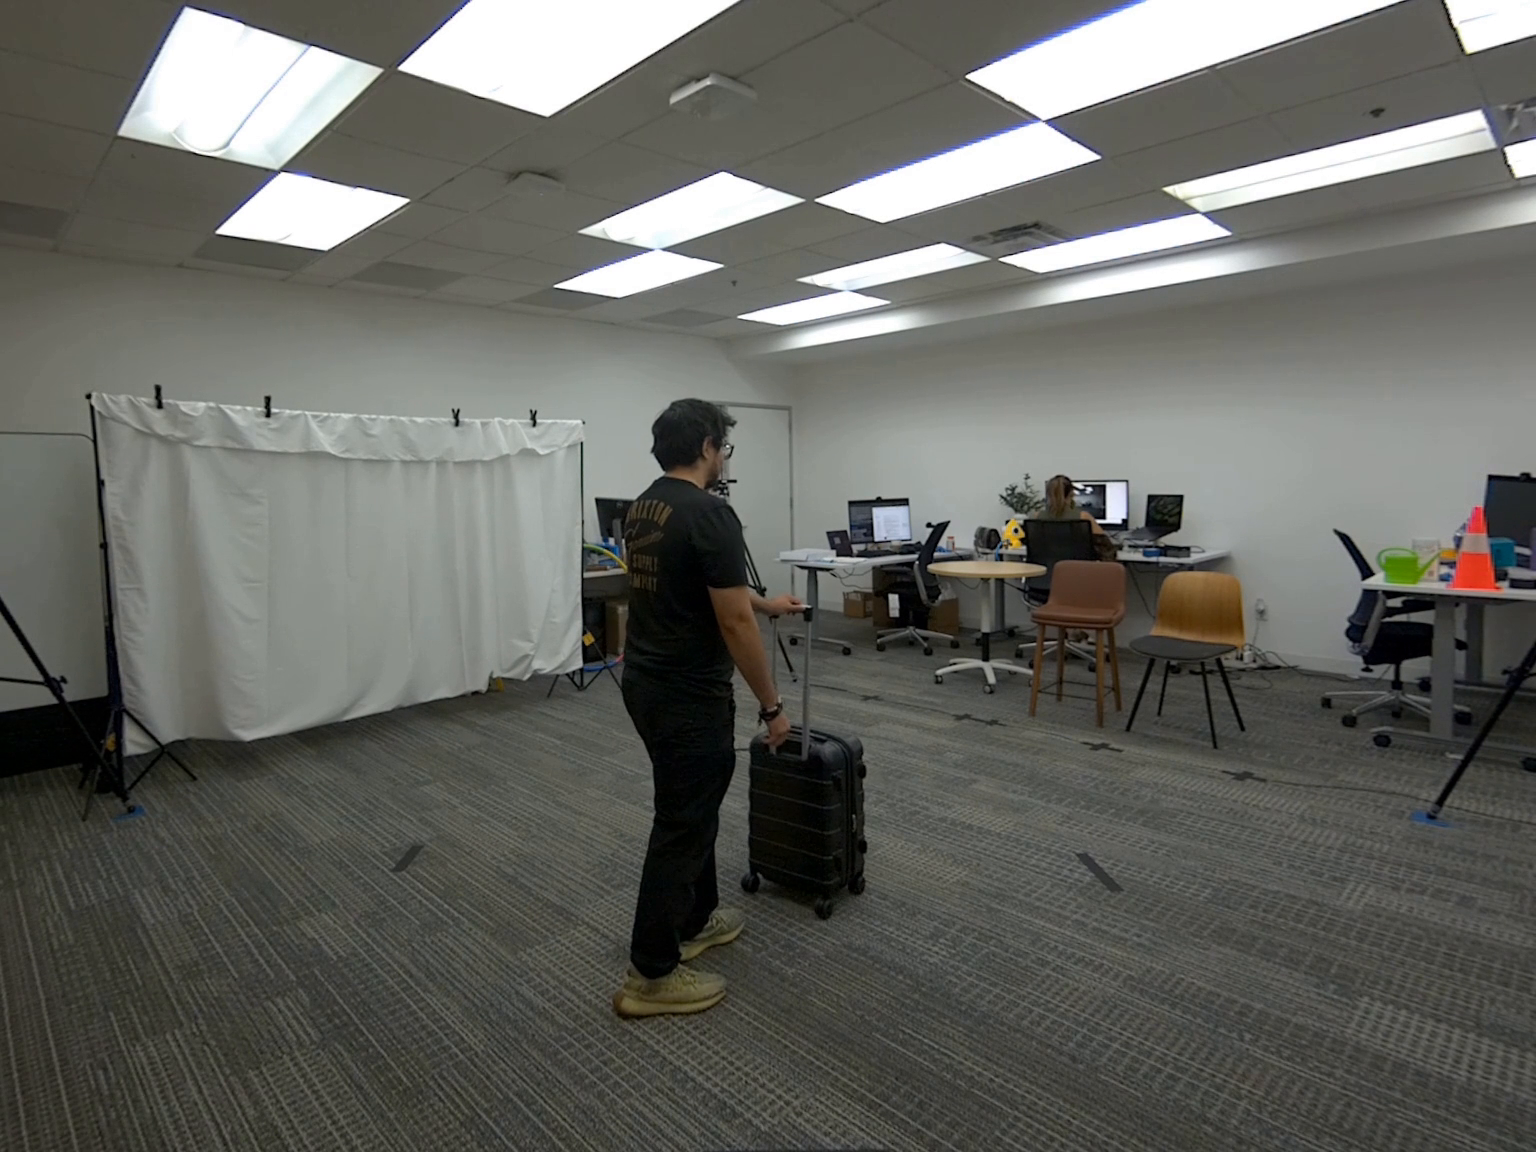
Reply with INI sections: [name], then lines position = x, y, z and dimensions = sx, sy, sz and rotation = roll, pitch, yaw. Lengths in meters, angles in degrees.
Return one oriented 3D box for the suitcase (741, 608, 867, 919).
[suitcase]
position = 0.137, 0.591, 2.904
dimensions = 0.395, 0.979, 0.249
rotation = 2, 0, 38
